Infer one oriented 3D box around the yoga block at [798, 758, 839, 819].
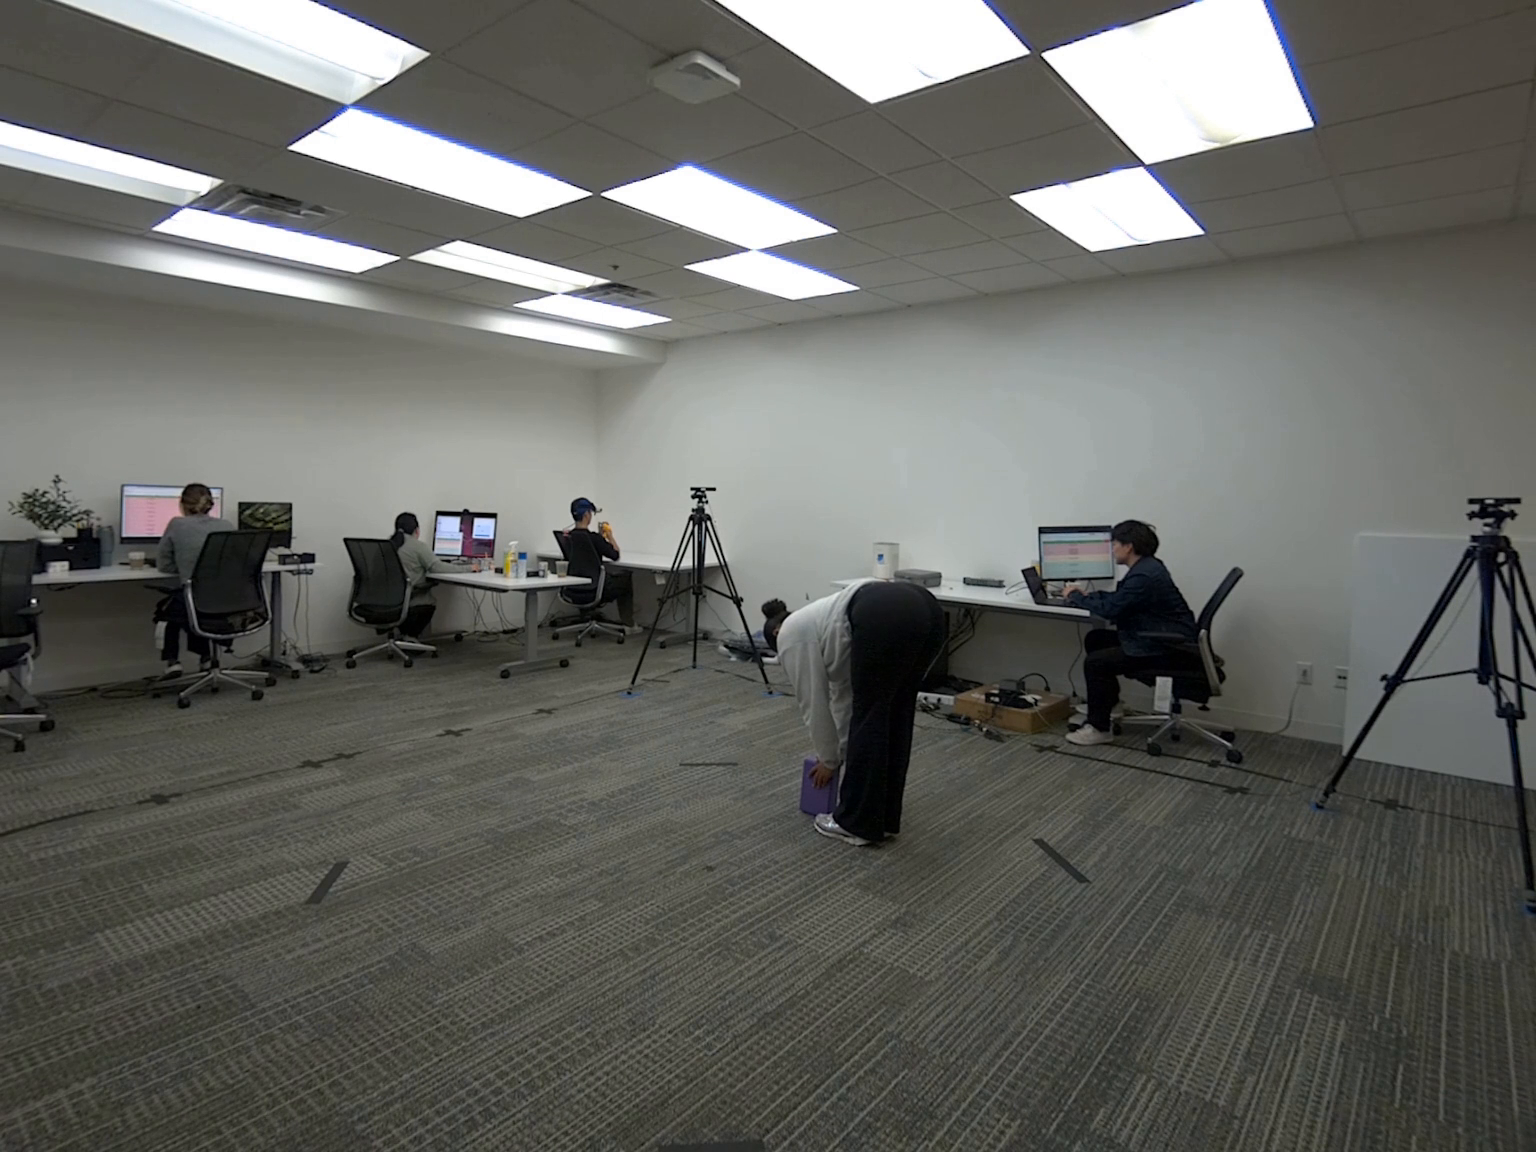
[{"bbox_3d":[0.211,0.902,3.656,0.154,0.229,0.074,5,1,38],"label":"yoga block"}]
